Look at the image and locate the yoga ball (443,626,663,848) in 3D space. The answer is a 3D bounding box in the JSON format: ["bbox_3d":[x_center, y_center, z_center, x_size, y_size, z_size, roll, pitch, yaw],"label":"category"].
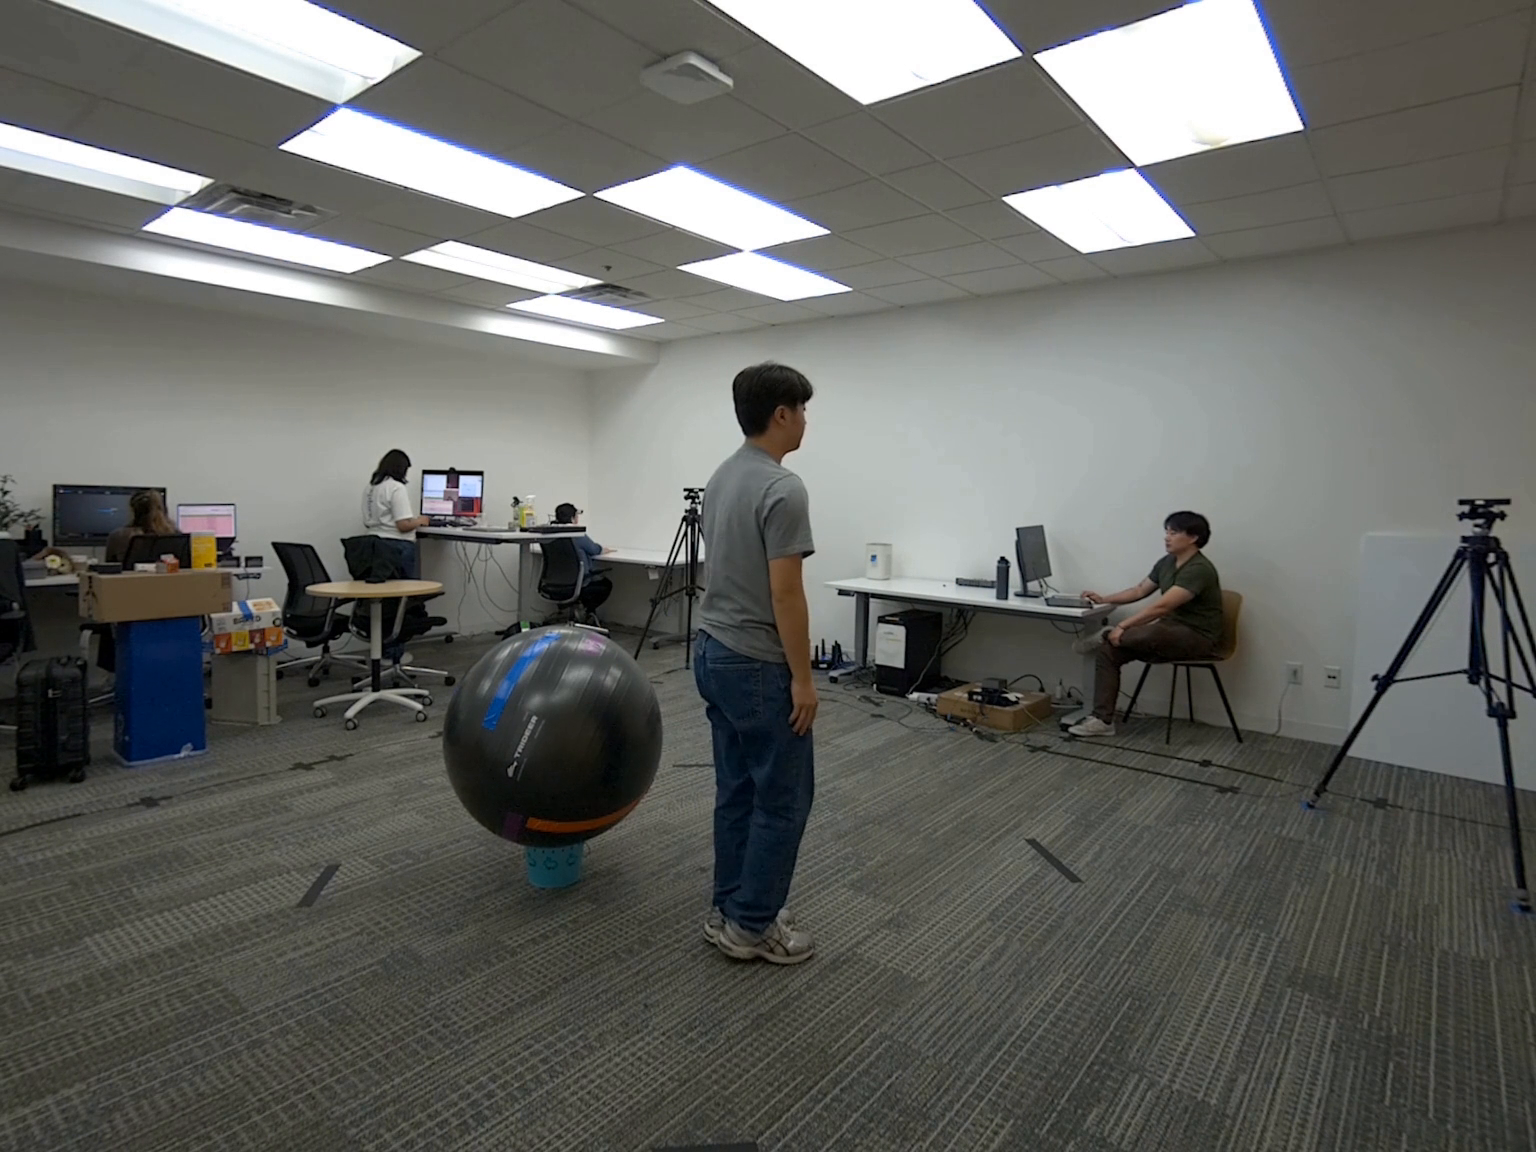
[{"bbox_3d":[-0.769,0.562,3.012,0.757,0.755,0.762,1,4,-2],"label":"yoga ball"}]
